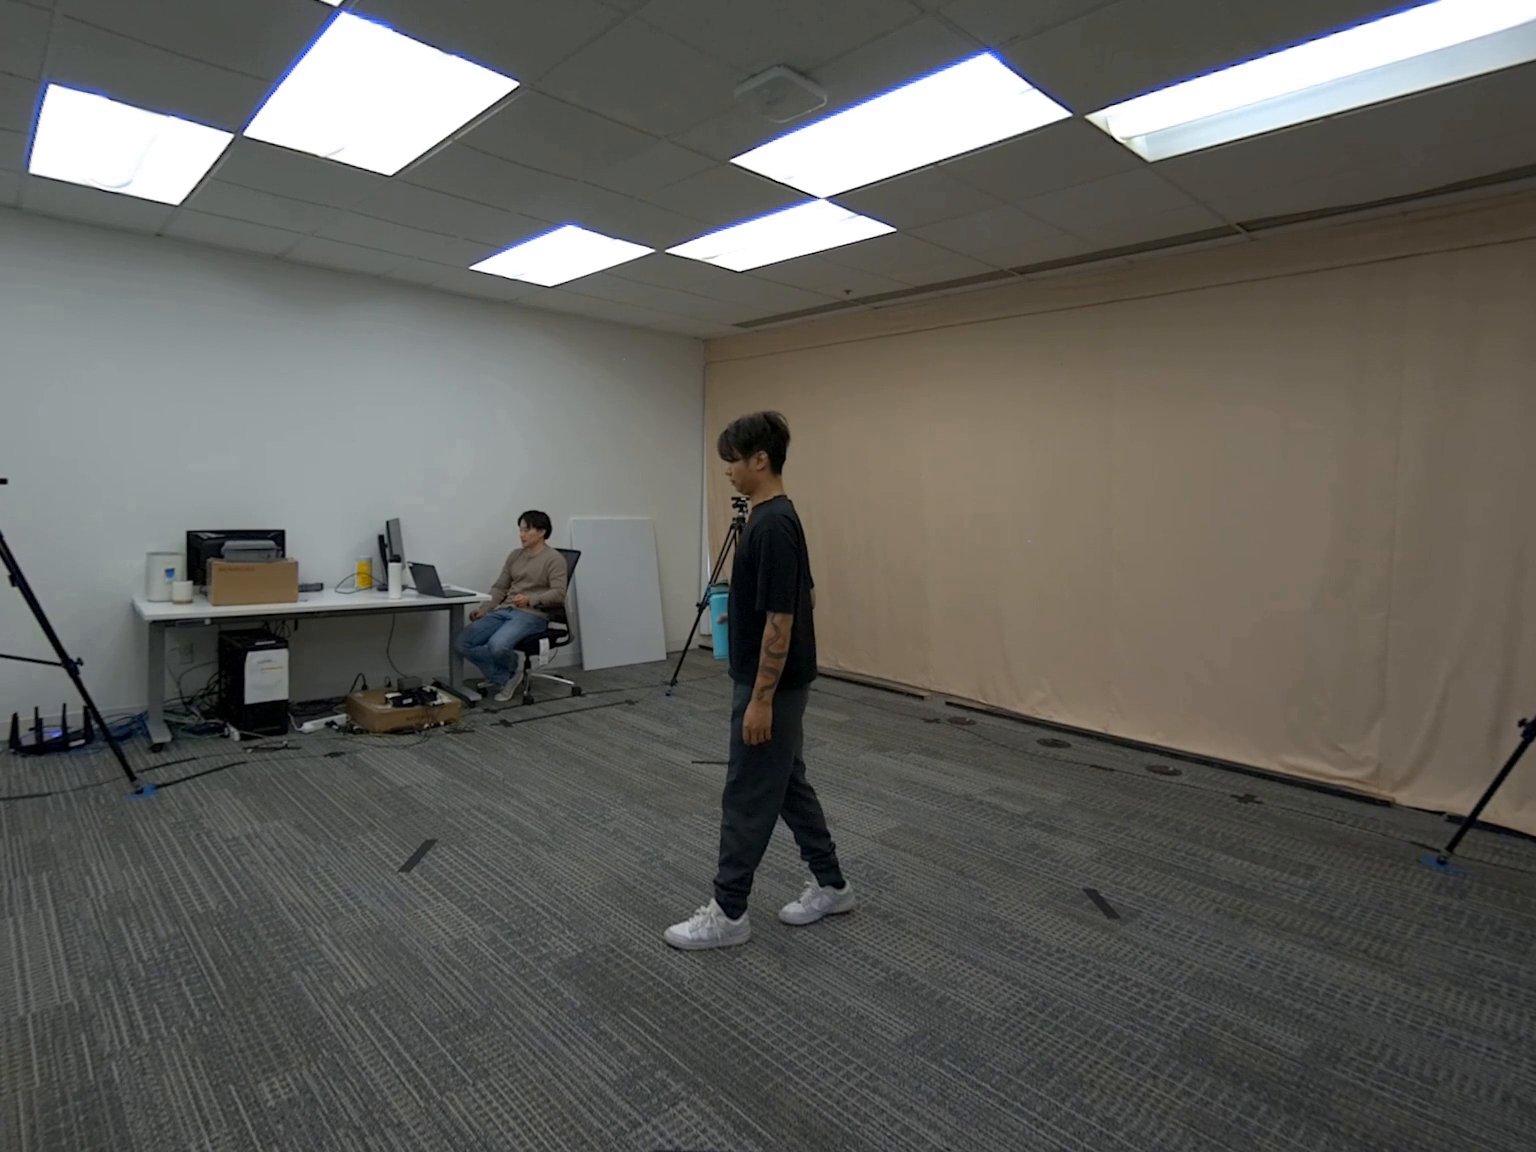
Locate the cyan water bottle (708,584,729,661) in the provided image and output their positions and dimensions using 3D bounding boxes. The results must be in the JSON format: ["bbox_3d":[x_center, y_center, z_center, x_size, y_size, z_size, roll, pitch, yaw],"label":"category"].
[{"bbox_3d":[-0.170,0.154,3.013,0.092,0.285,0.092,-7,-6,-2],"label":"cyan water bottle"}]
